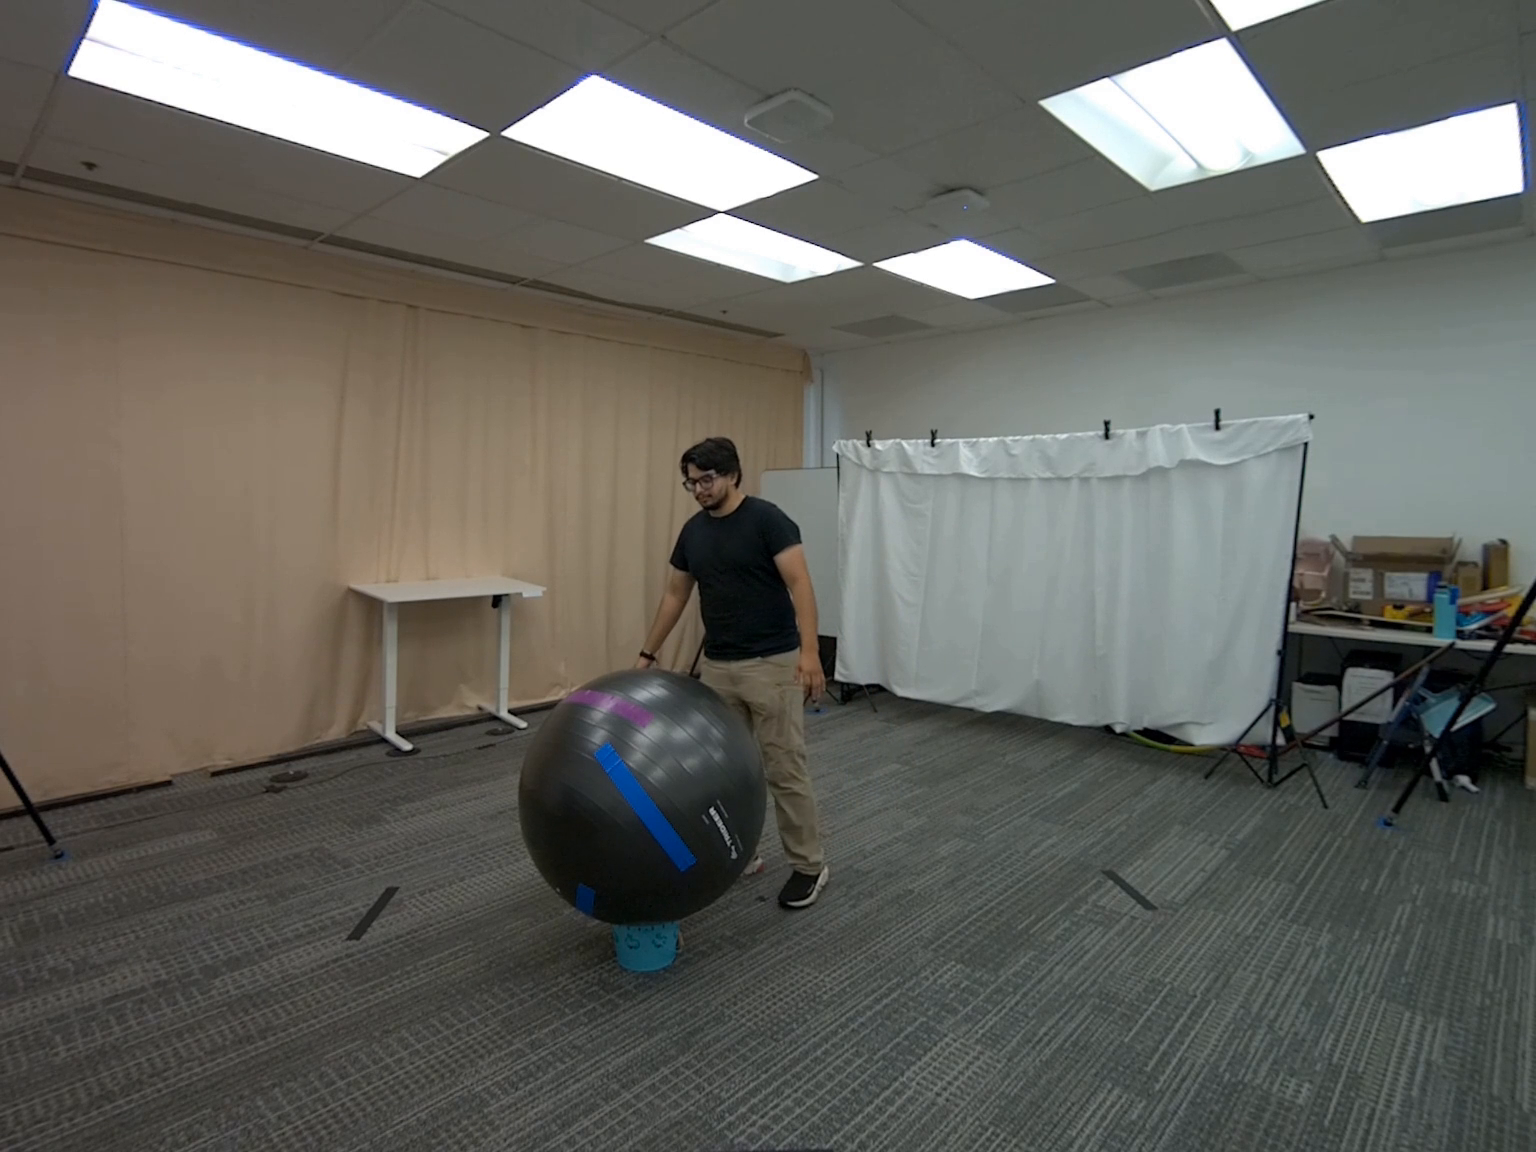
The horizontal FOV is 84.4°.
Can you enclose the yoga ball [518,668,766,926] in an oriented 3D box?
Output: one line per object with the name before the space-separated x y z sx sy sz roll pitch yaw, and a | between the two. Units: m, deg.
yoga ball | -0.394 0.676 2.586 0.757 0.756 0.760 0 4 -2
